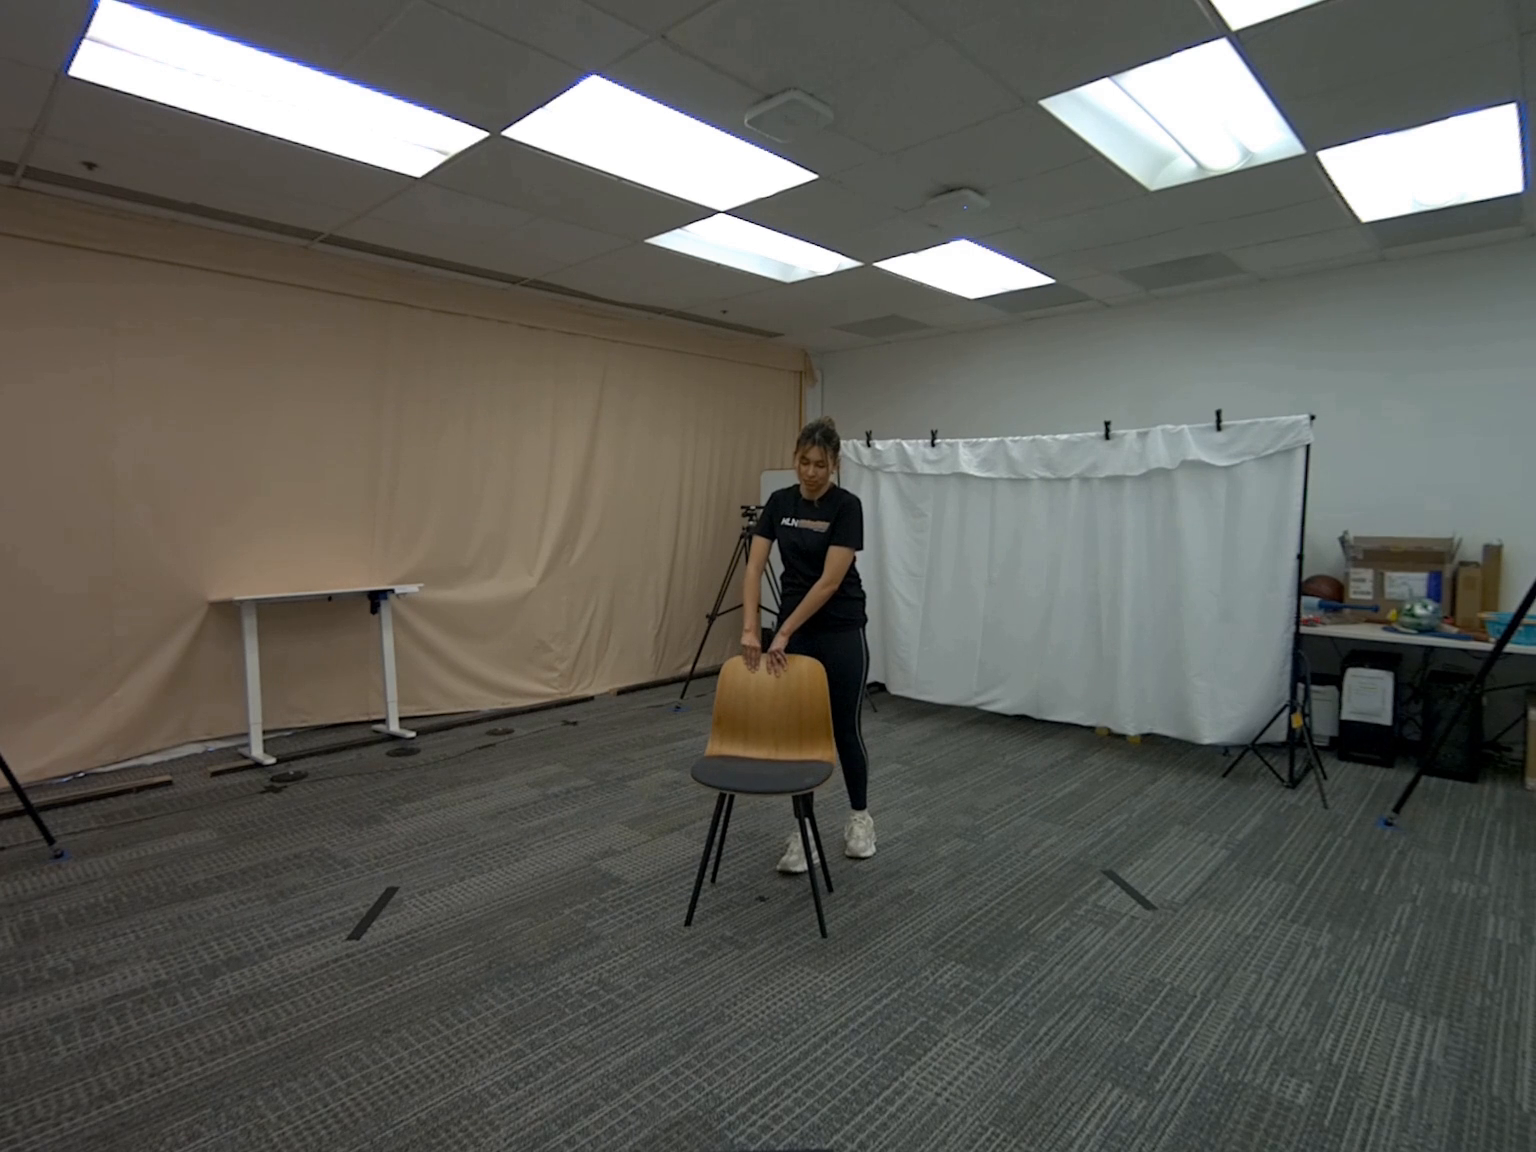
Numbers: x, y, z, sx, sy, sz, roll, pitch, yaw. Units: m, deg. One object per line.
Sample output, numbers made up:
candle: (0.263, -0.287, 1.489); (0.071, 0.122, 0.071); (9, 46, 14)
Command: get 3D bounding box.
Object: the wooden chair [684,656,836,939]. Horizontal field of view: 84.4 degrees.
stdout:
wooden chair: (-0.005, 0.706, 2.867); (0.483, 0.881, 0.515); (0, -7, 9)
